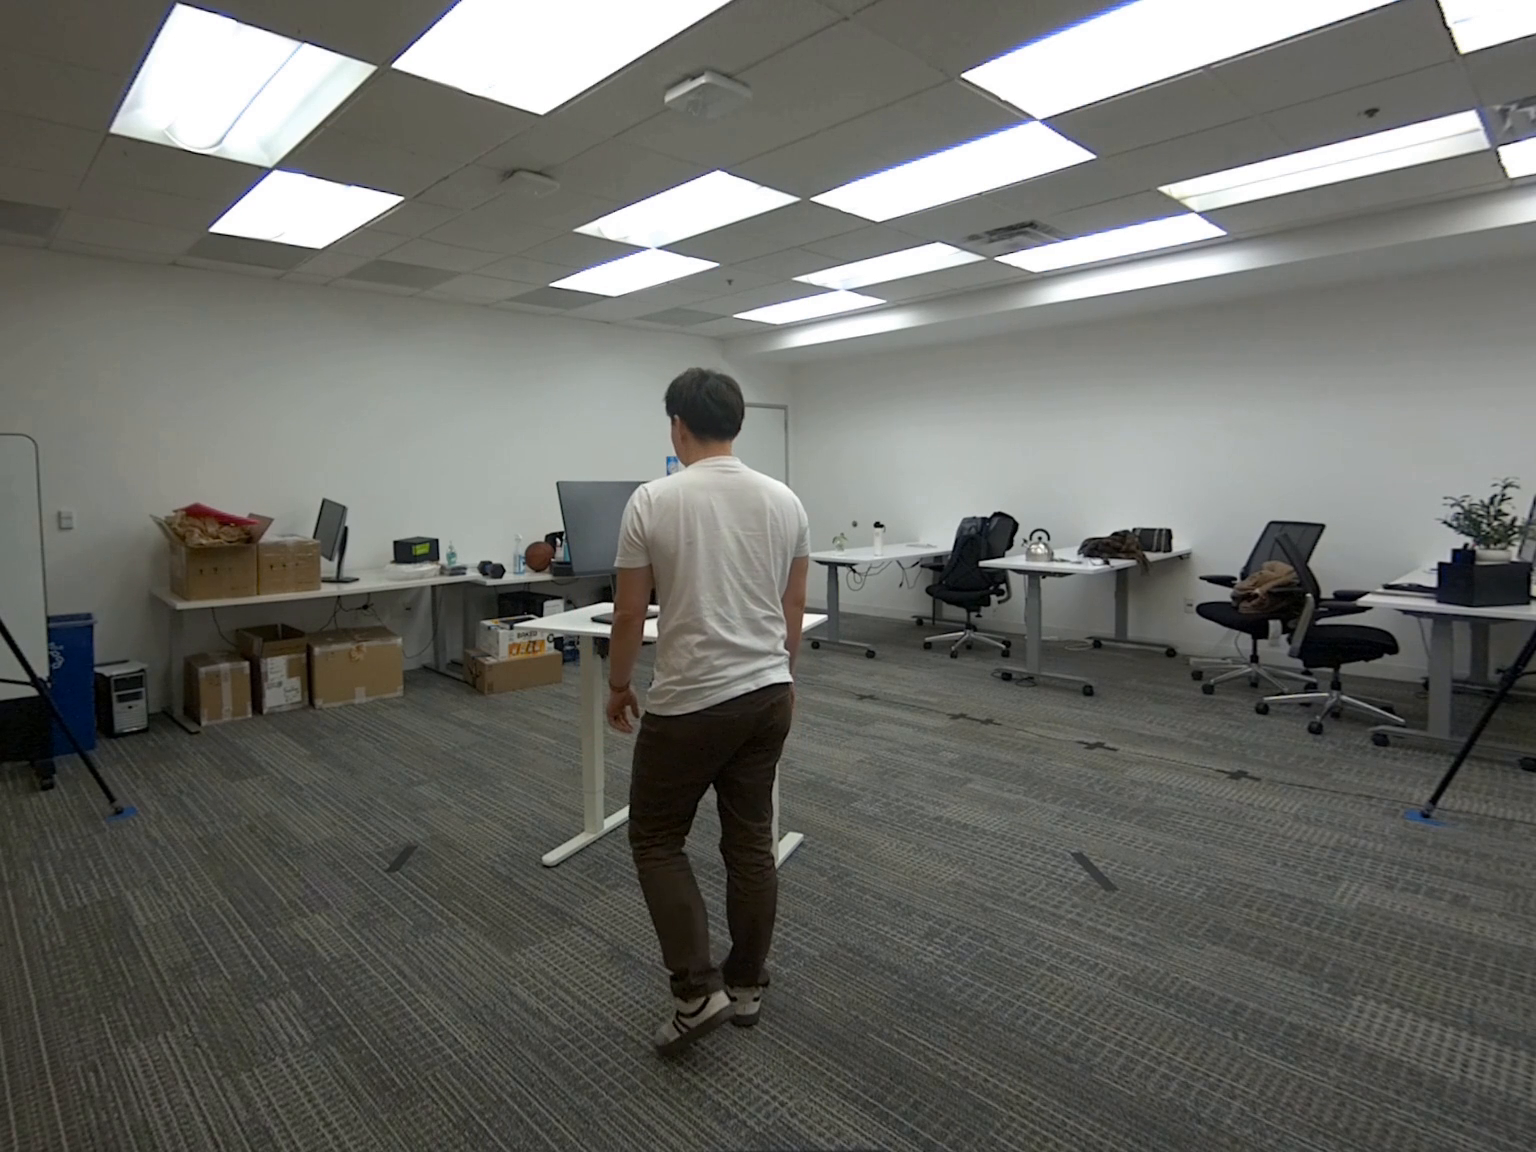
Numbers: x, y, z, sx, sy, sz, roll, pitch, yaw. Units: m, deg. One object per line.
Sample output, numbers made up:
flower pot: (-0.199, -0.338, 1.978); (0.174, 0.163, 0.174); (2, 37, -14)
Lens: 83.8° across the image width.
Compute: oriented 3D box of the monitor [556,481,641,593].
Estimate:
monitor: (-0.531, -0.095, 3.212); (0.524, 0.522, 0.192); (-4, 2, -43)
